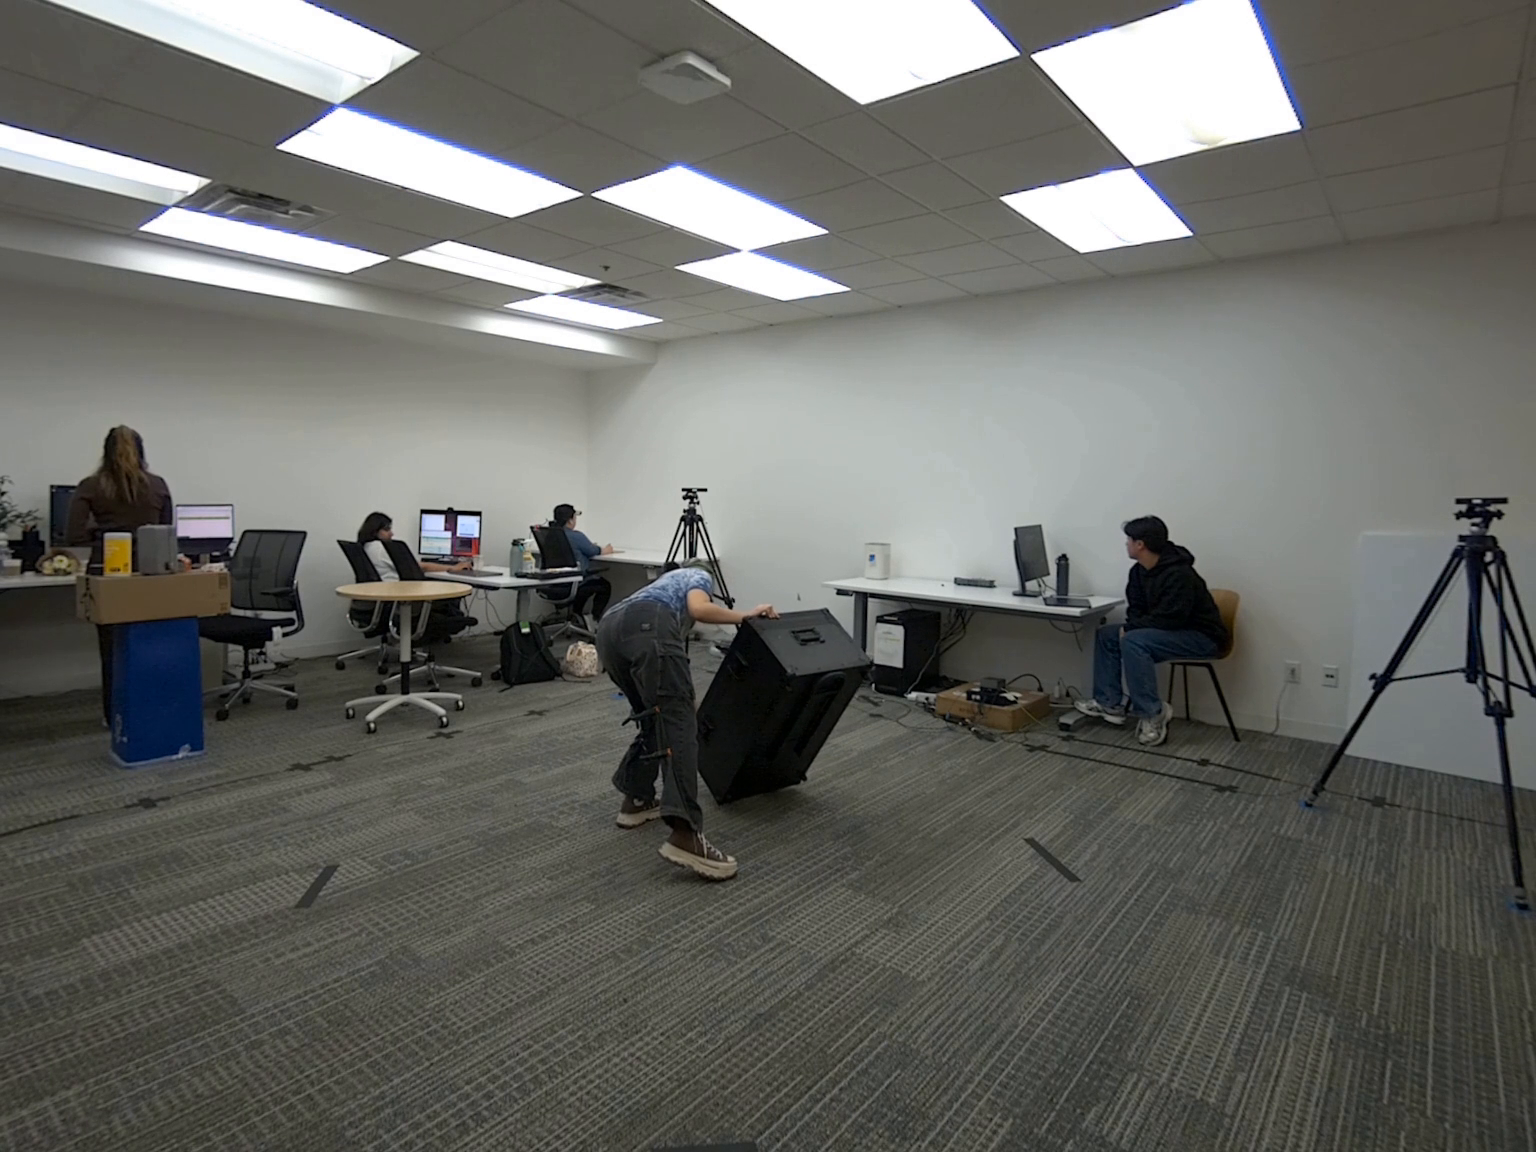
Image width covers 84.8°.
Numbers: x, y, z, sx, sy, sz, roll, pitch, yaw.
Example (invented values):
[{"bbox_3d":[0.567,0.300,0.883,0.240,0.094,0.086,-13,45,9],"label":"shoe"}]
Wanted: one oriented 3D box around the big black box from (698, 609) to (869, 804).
[{"bbox_3d":[0.036,0.555,3.723,0.506,0.851,0.413,-2,38,-38],"label":"big black box"}]
